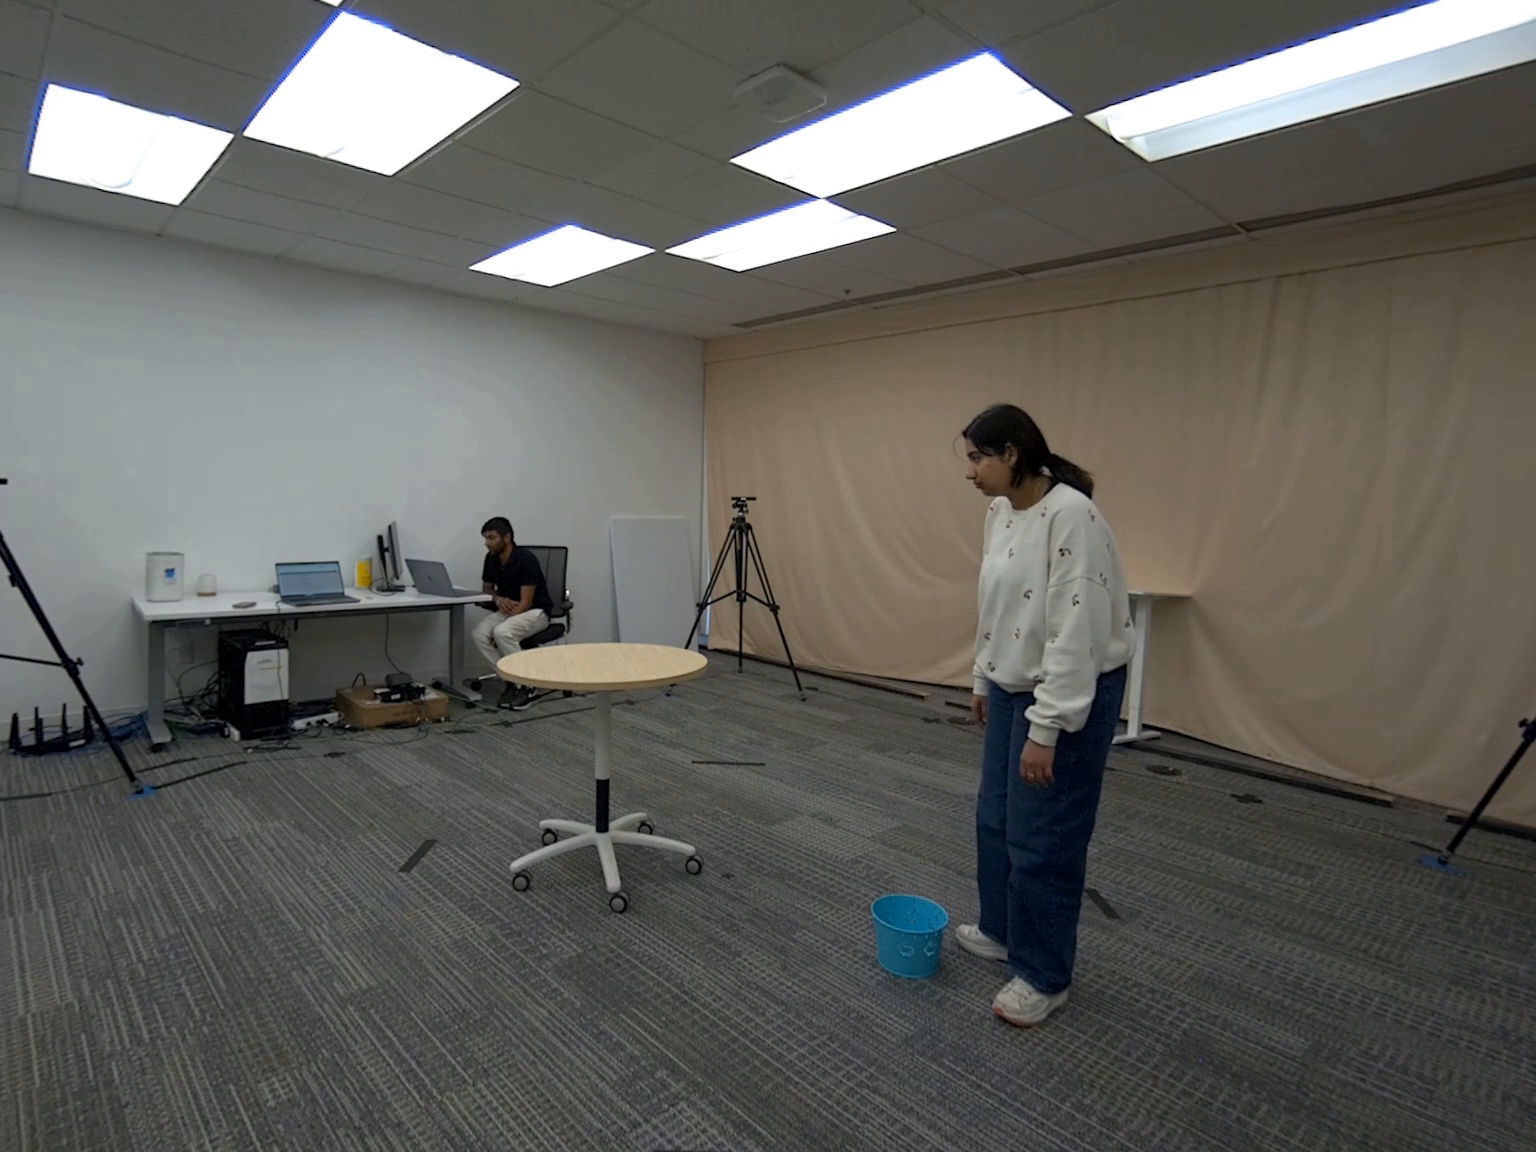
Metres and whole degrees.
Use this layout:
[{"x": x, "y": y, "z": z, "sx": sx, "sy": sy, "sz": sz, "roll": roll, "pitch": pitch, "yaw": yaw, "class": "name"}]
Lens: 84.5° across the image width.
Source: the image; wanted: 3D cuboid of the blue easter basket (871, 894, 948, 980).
[{"x": 0.426, "y": 1.089, "z": 2.561, "sx": 0.243, "sy": 0.155, "sz": 0.244, "roll": 1, "pitch": 5, "yaw": -1, "class": "blue easter basket"}]
